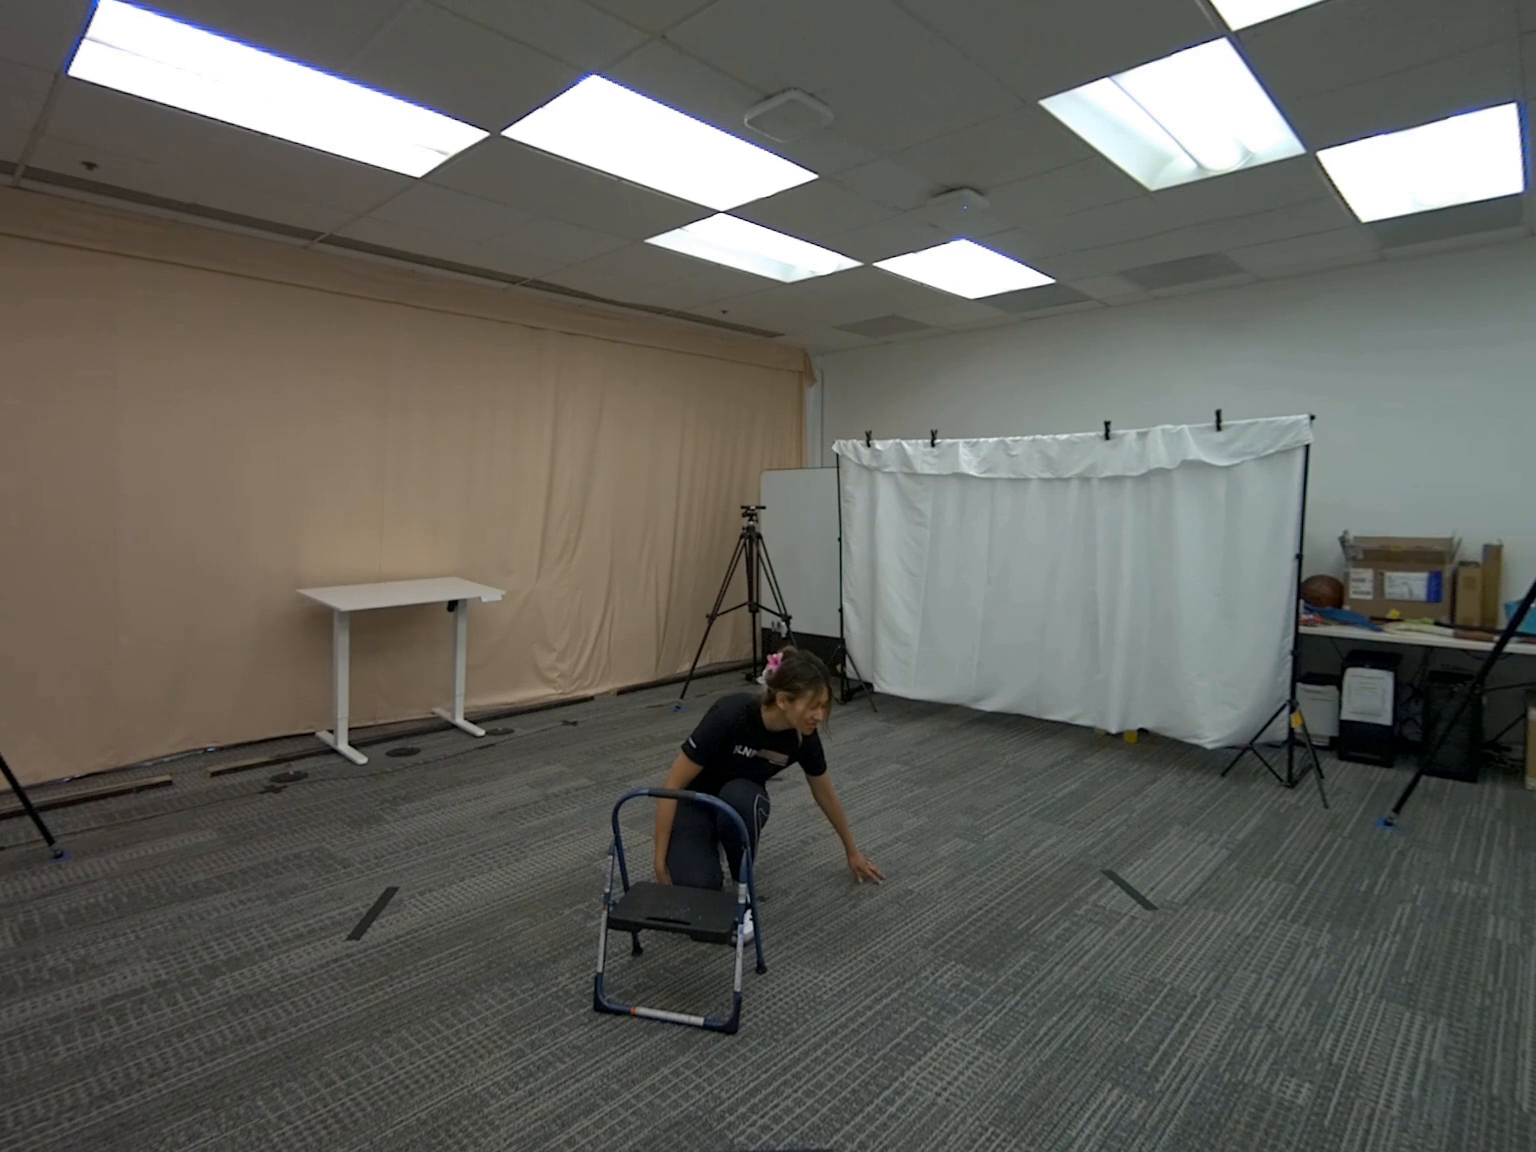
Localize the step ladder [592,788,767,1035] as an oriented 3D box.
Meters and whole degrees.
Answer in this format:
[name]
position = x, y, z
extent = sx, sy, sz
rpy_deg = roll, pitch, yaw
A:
[step ladder]
position = -0.249, 0.885, 2.415
extent = 0.437, 0.605, 0.344
rpy_deg = 1, 3, 14
